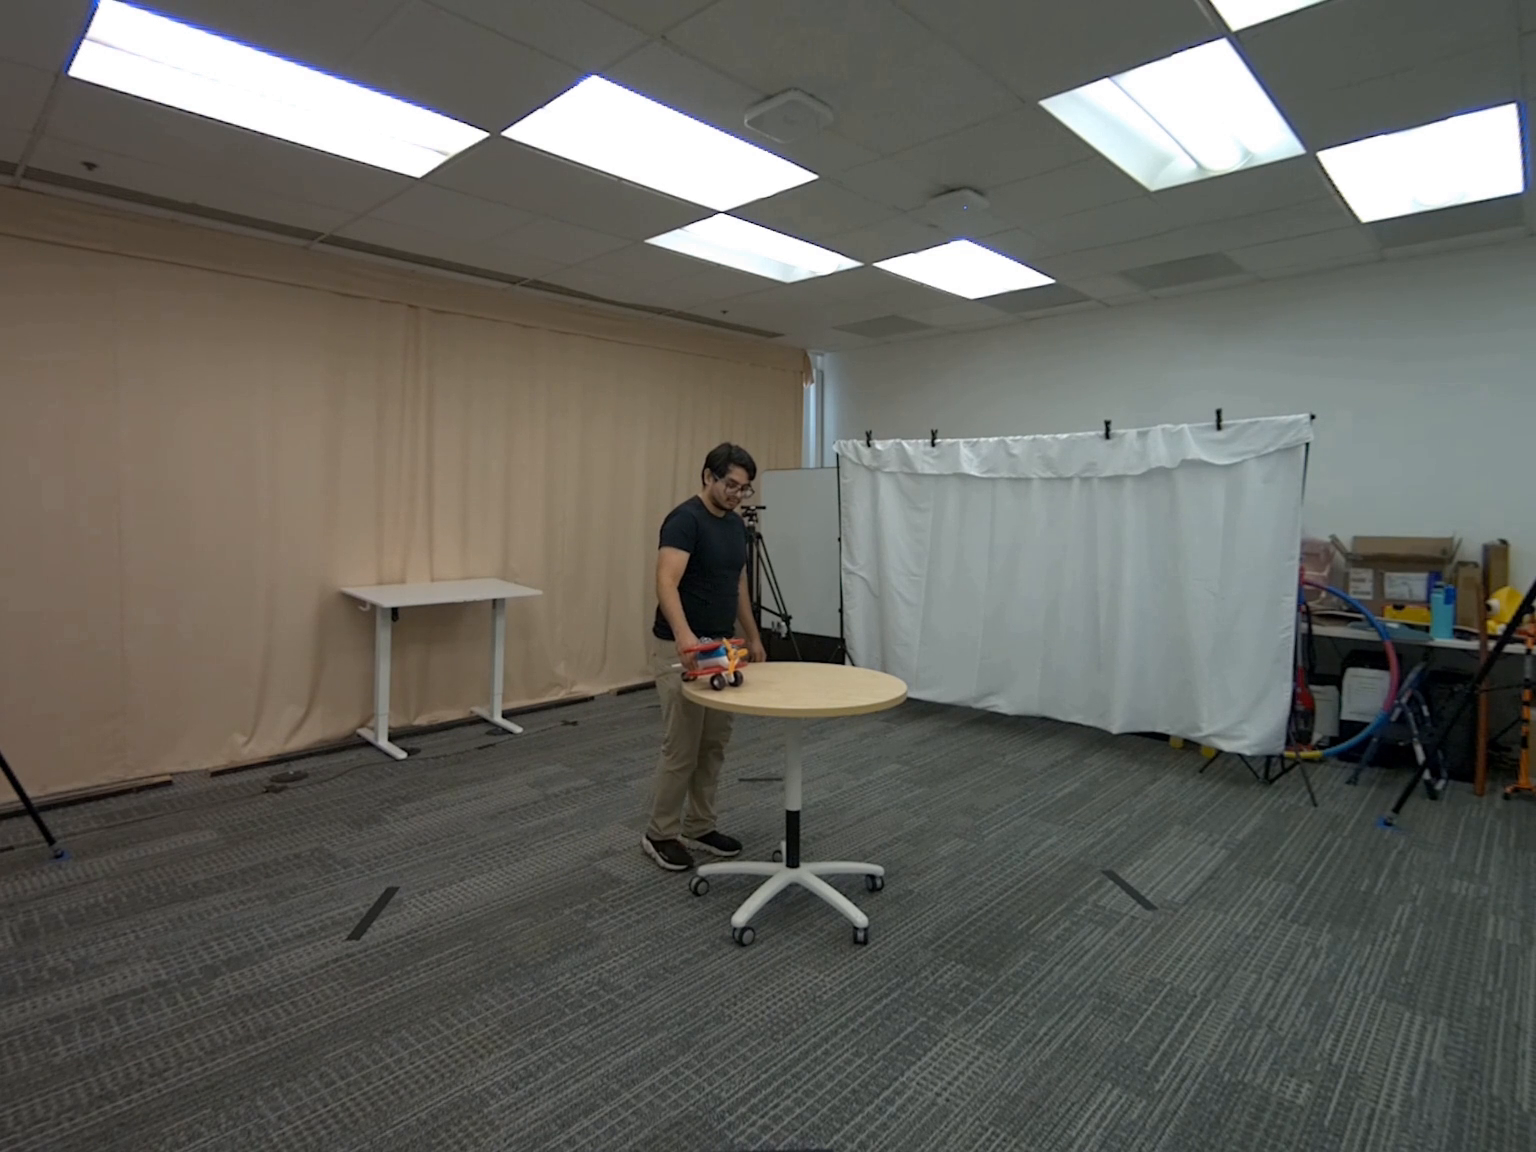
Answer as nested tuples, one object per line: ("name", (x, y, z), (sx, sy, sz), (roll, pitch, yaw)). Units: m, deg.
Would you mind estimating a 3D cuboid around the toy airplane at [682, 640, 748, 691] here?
("toy airplane", (-0.205, 0.293, 2.841), (0.263, 0.156, 0.247), (3, 4, 14))
